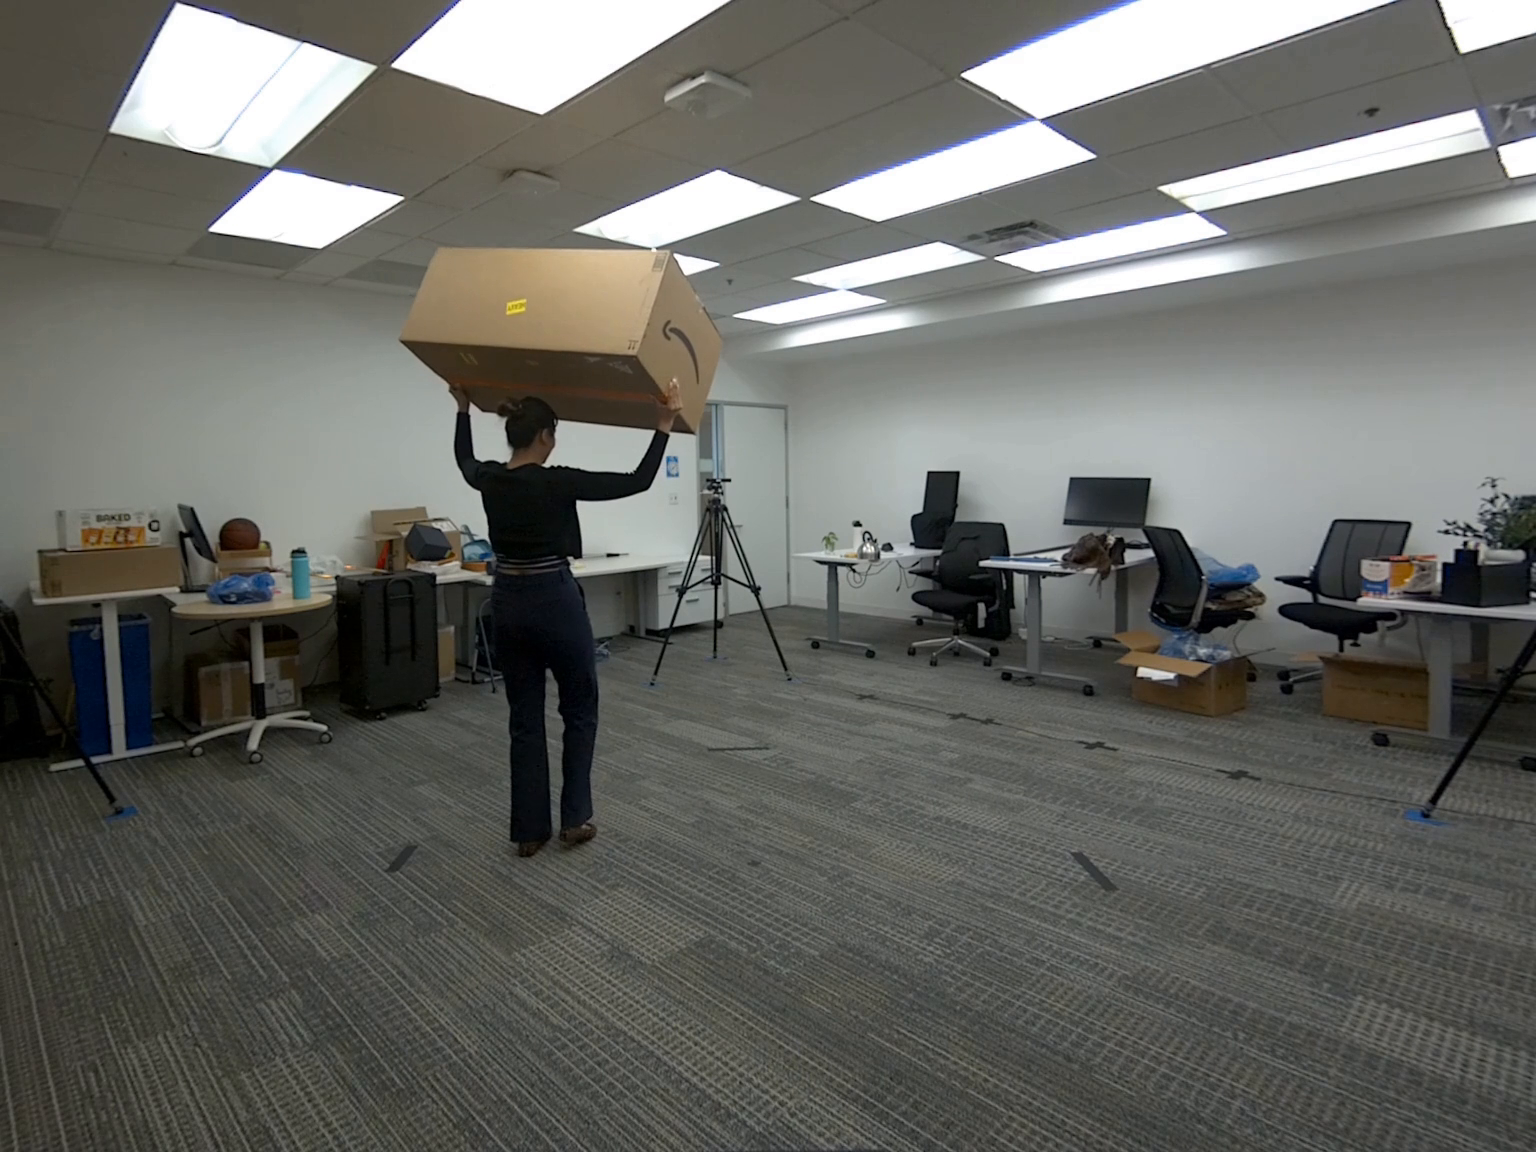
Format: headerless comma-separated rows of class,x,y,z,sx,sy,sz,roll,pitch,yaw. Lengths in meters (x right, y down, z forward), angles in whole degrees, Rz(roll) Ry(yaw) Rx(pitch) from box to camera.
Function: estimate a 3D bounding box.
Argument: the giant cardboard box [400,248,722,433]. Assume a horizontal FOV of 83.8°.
giant cardboard box,-0.775,-0.900,3.303,1.050,0.430,0.559,10,-16,22
